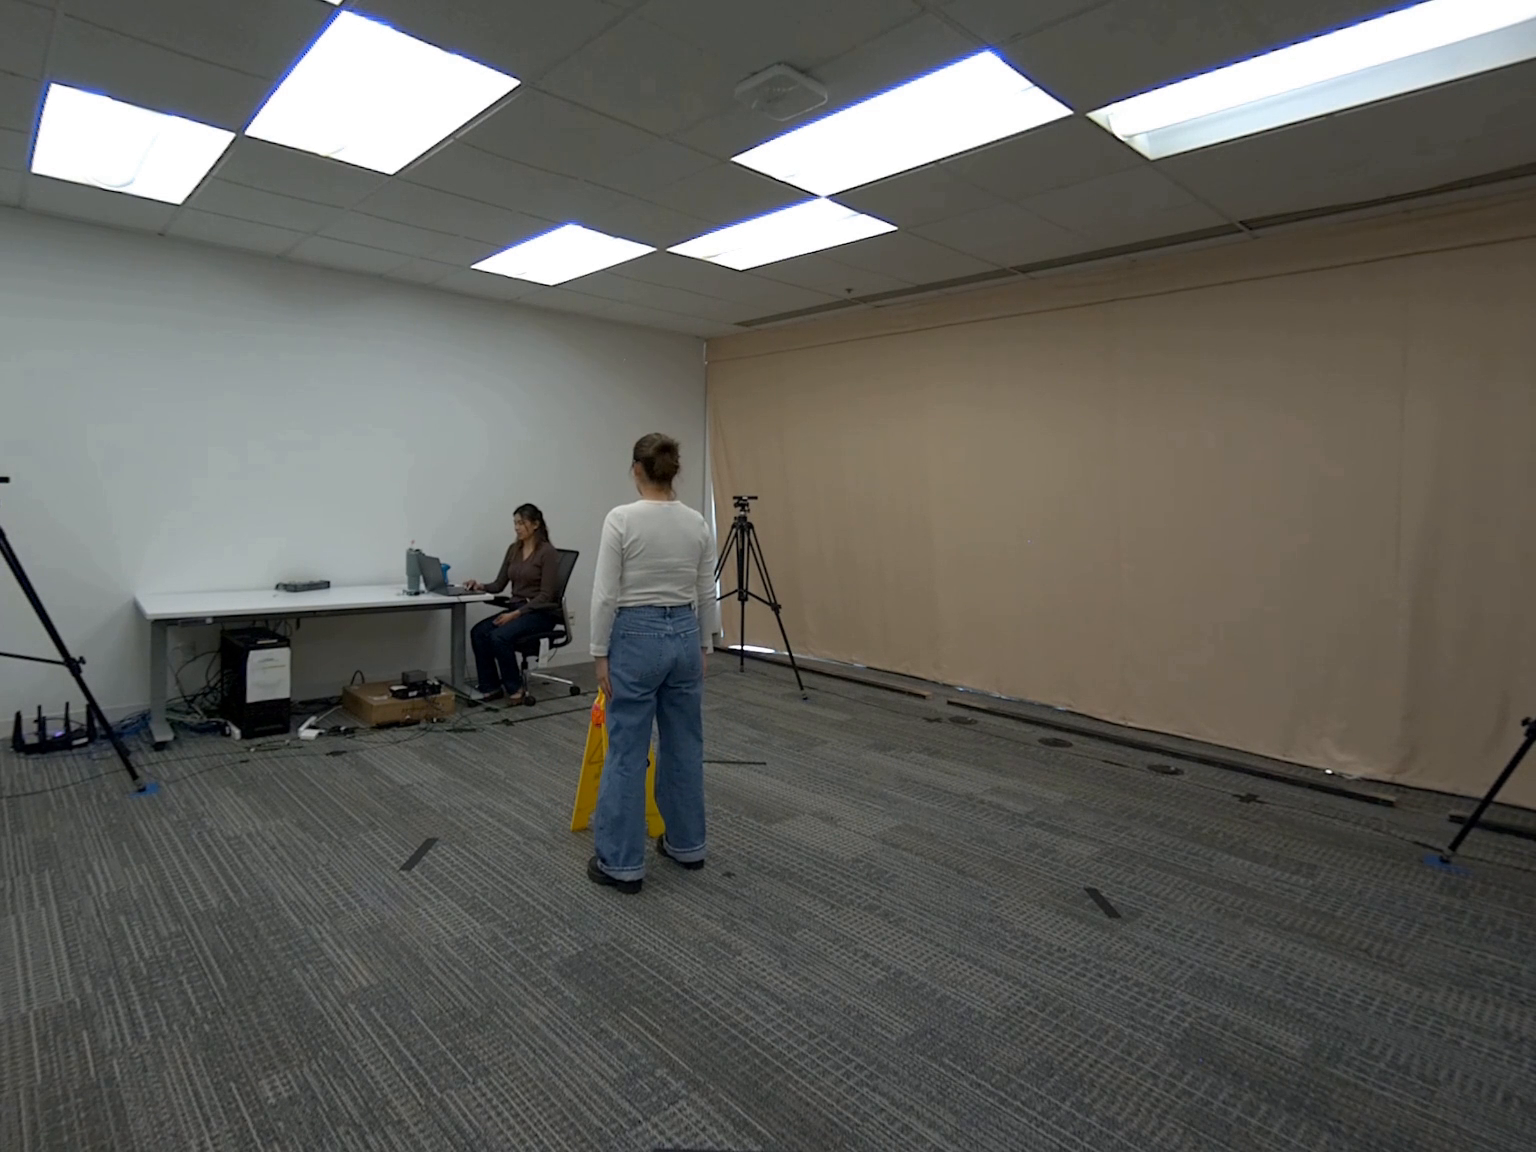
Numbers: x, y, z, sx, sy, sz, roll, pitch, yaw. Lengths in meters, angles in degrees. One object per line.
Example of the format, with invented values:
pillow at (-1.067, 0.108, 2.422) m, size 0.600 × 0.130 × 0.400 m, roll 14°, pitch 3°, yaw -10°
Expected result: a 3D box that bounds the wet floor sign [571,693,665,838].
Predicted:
wet floor sign at (-0.613, 0.739, 3.453) m, size 0.297 × 0.644 × 0.276 m, roll 4°, pitch 5°, yaw 43°
